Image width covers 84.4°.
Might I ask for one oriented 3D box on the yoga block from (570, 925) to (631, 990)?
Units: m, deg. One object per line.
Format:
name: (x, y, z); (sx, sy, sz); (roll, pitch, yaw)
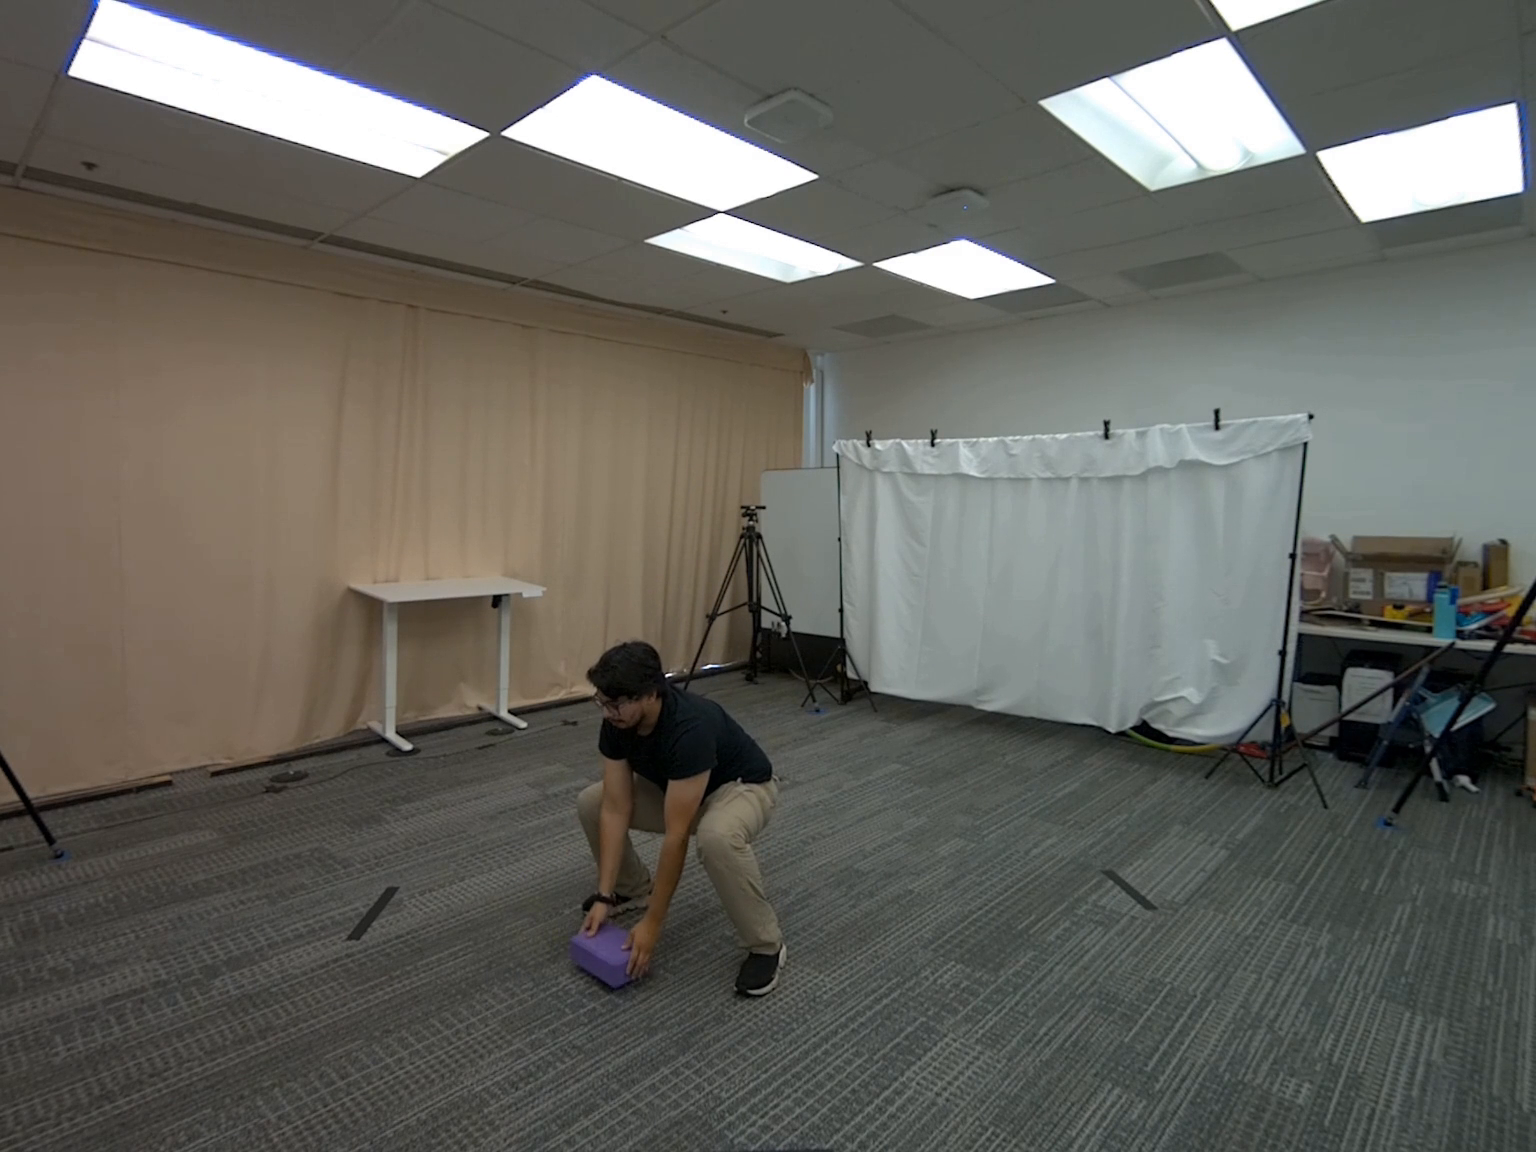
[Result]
yoga block: (-0.463, 1.120, 2.502); (0.237, 0.076, 0.144); (4, 6, 45)
